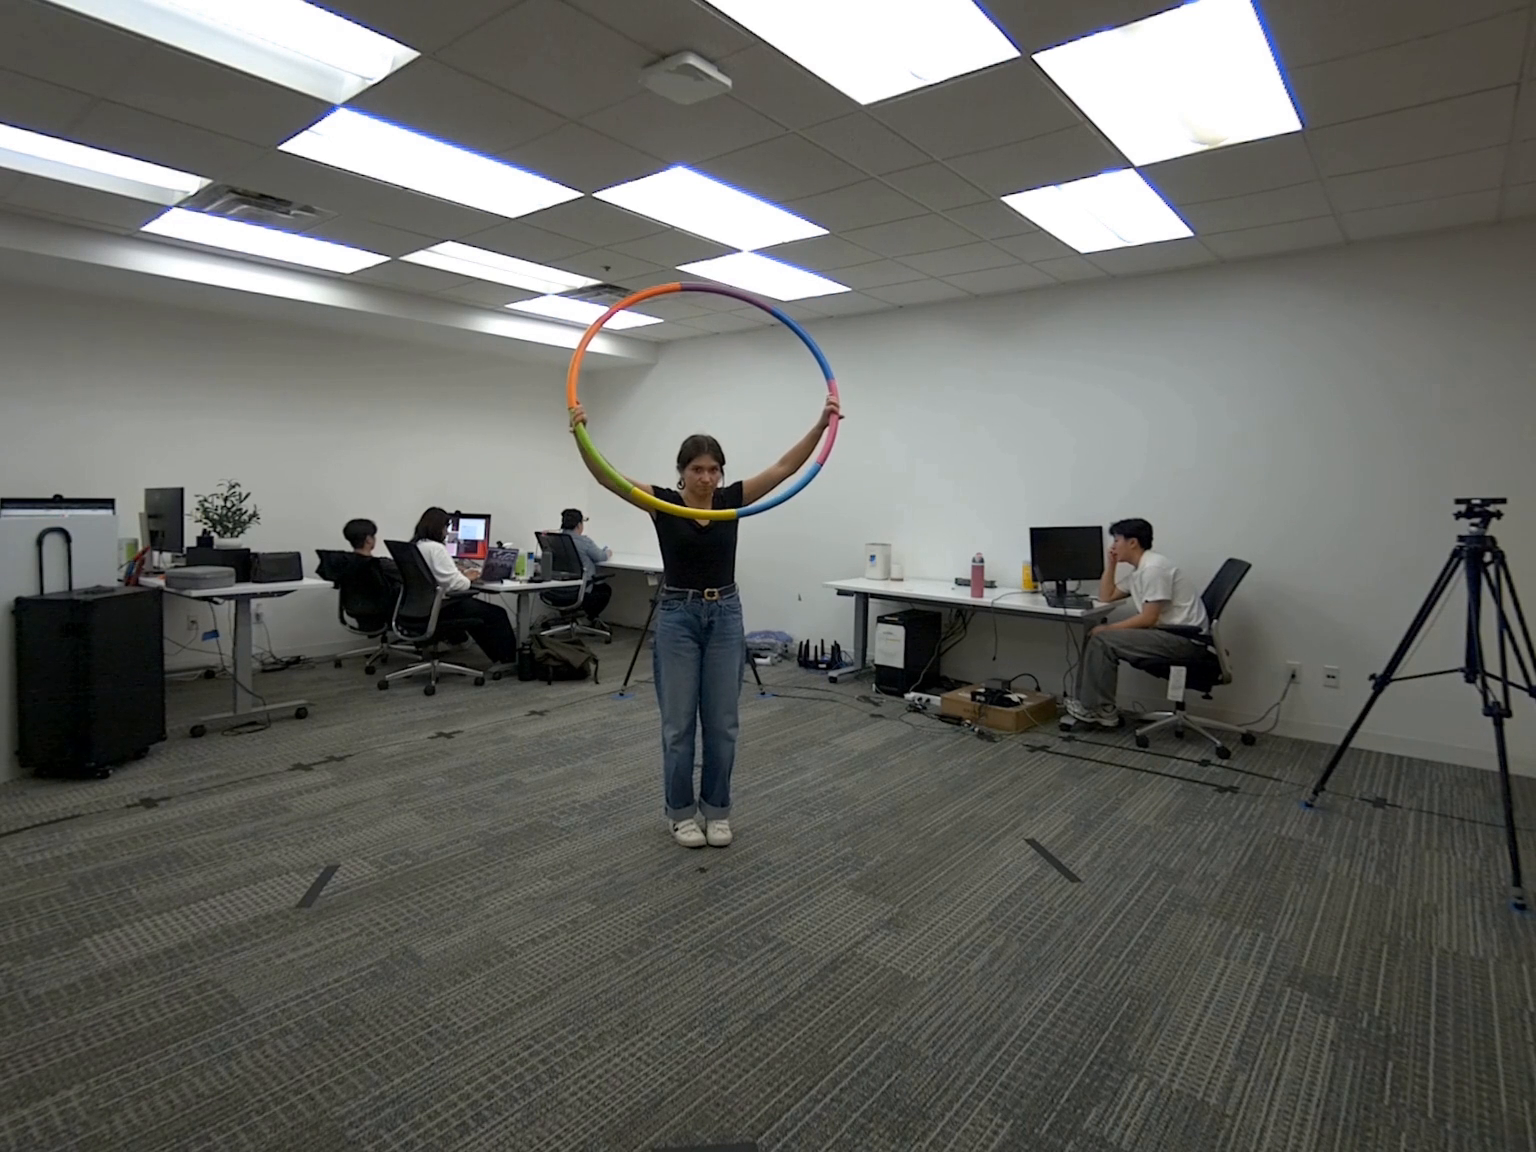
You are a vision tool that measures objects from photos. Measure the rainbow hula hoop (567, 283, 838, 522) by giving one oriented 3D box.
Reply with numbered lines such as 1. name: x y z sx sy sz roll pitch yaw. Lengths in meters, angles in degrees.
1. rainbow hula hoop: -0.230 -0.658 3.093 0.969 0.999 0.035 -1 -22 -8
